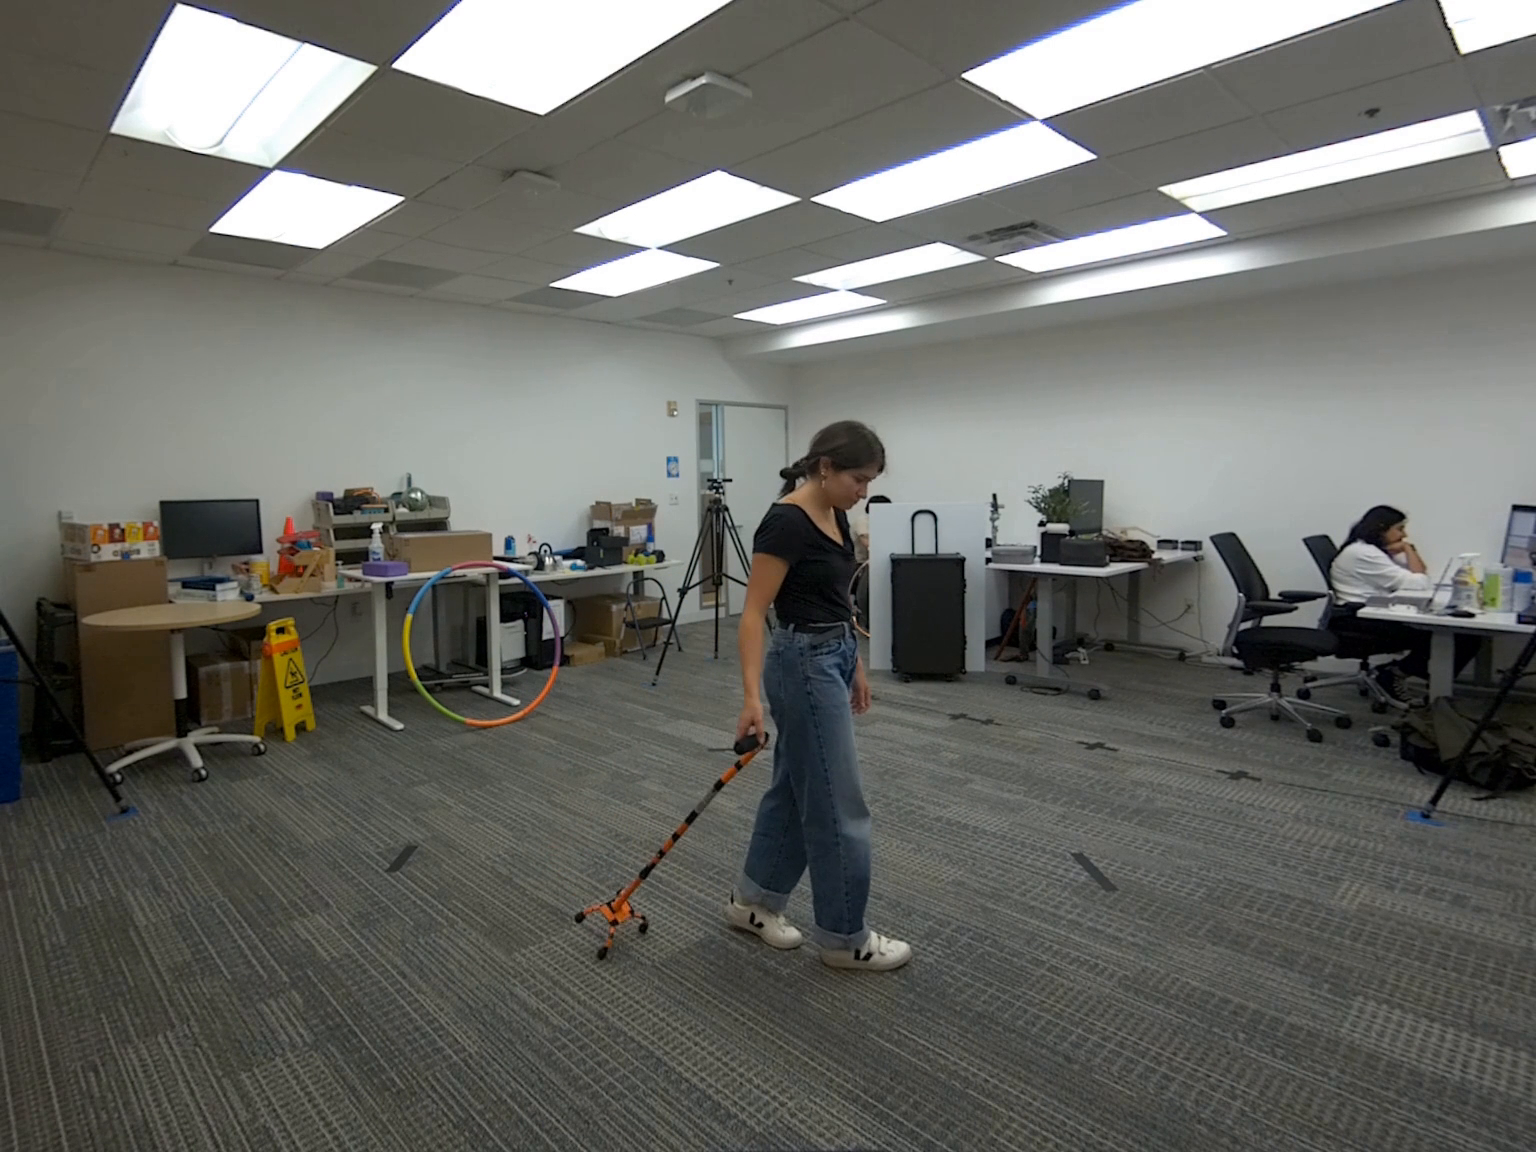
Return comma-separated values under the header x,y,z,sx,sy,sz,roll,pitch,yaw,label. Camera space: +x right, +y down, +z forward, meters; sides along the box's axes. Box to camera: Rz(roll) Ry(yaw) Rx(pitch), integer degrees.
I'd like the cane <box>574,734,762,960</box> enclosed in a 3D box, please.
x,y,z,sx,sy,sz,roll,pitch,yaw,label
-0.243,0.745,2.402,0.156,0.904,0.202,48,30,20,cane
